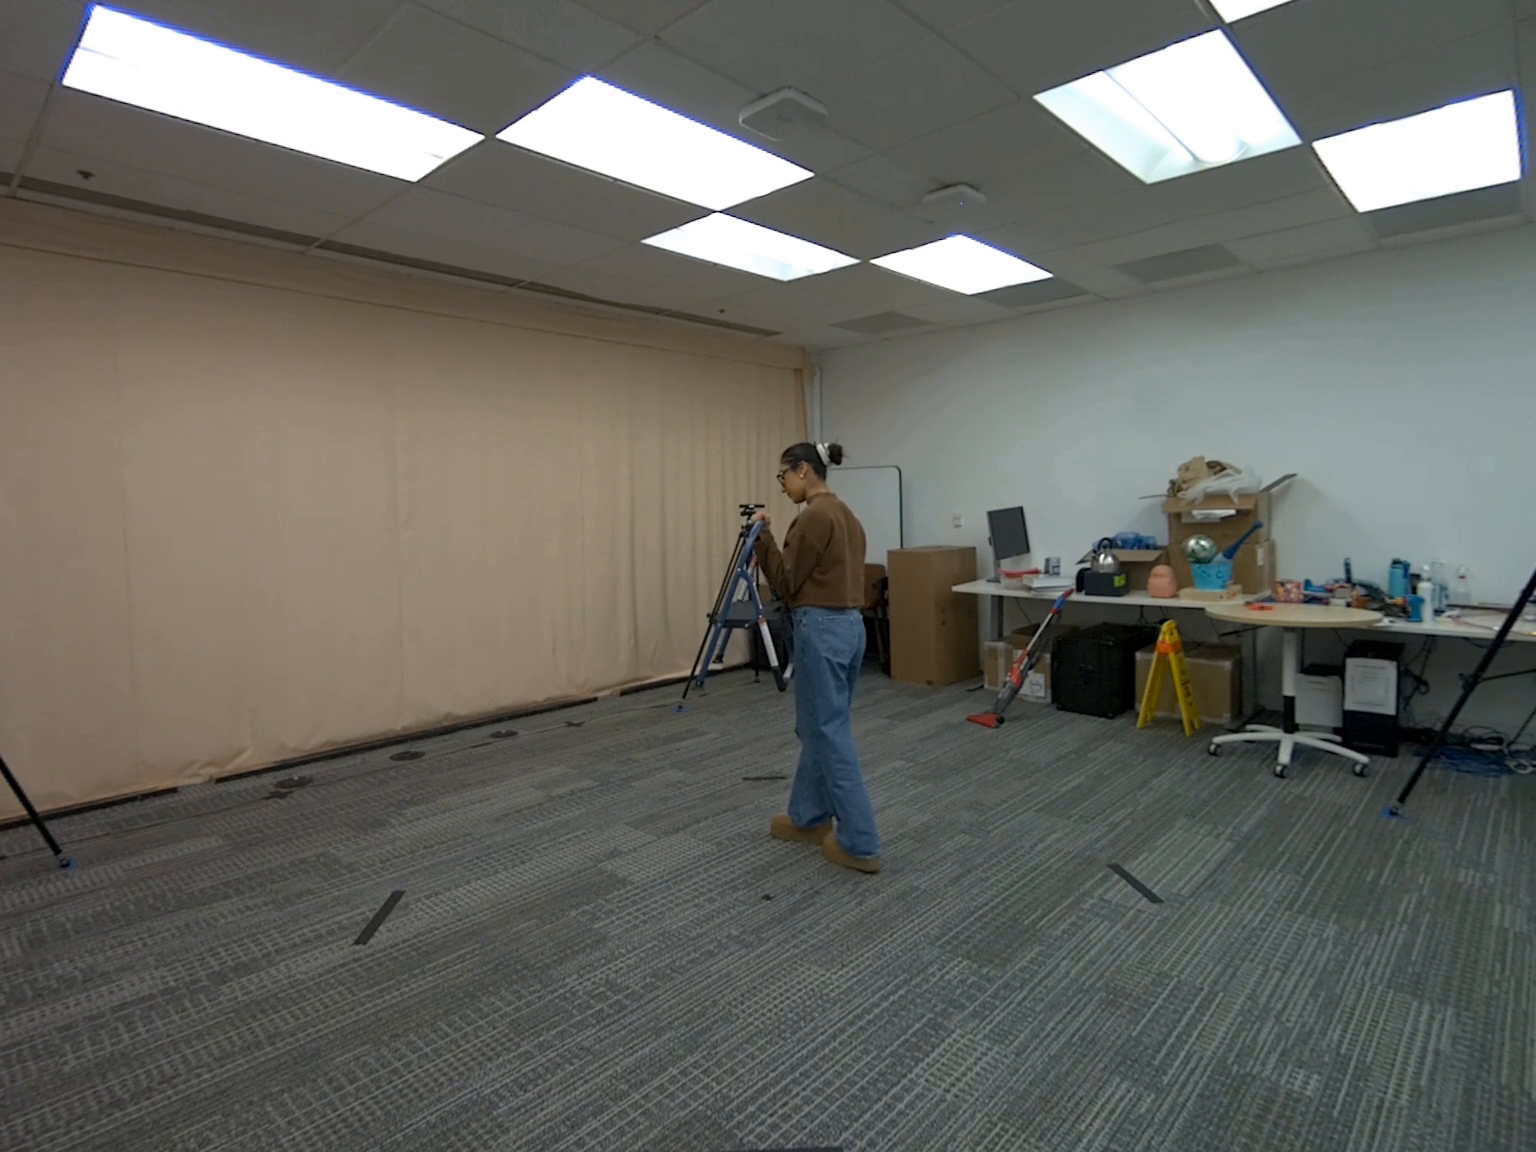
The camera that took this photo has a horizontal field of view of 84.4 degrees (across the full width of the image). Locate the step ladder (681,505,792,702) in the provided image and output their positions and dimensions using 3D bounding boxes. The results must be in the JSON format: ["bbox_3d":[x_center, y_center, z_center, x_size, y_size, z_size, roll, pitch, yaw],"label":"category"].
[{"bbox_3d":[-0.082,0.086,3.200,0.353,0.603,0.428,-1,7,9],"label":"step ladder"}]
